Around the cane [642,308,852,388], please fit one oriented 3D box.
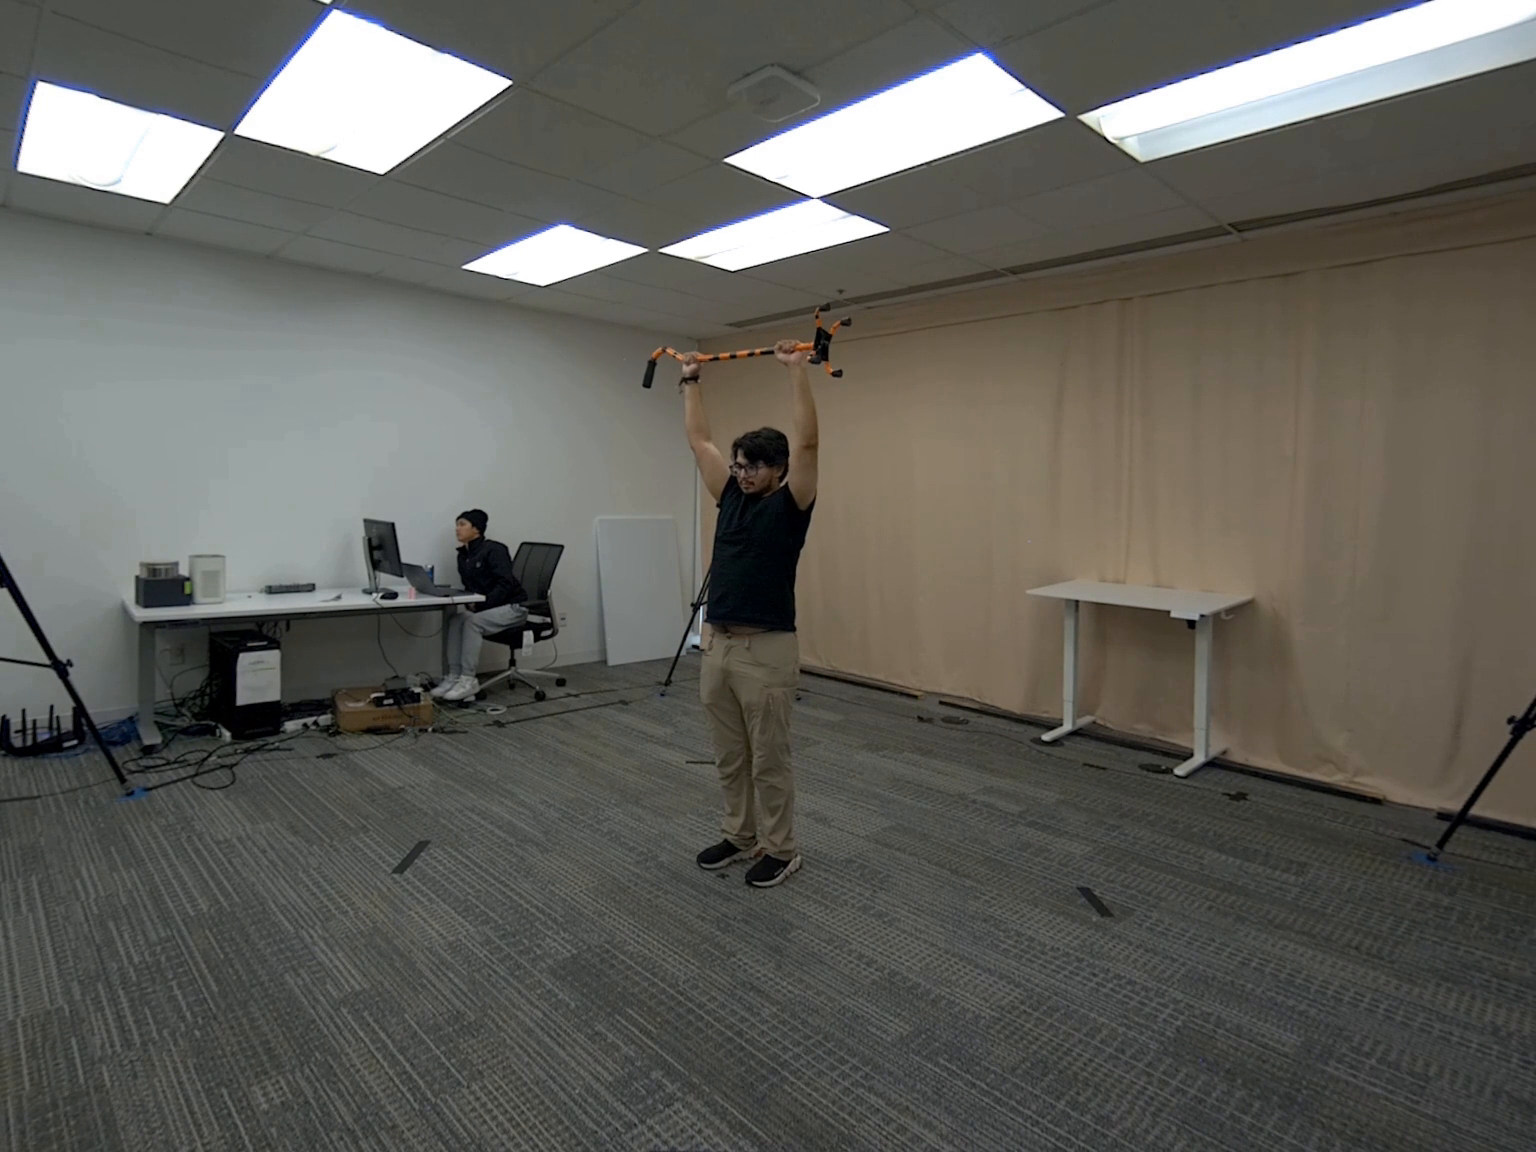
[{"bbox_3d":[-0.138,-0.801,3.024,0.931,0.207,0.147,7,-9,42],"label":"cane"}]
